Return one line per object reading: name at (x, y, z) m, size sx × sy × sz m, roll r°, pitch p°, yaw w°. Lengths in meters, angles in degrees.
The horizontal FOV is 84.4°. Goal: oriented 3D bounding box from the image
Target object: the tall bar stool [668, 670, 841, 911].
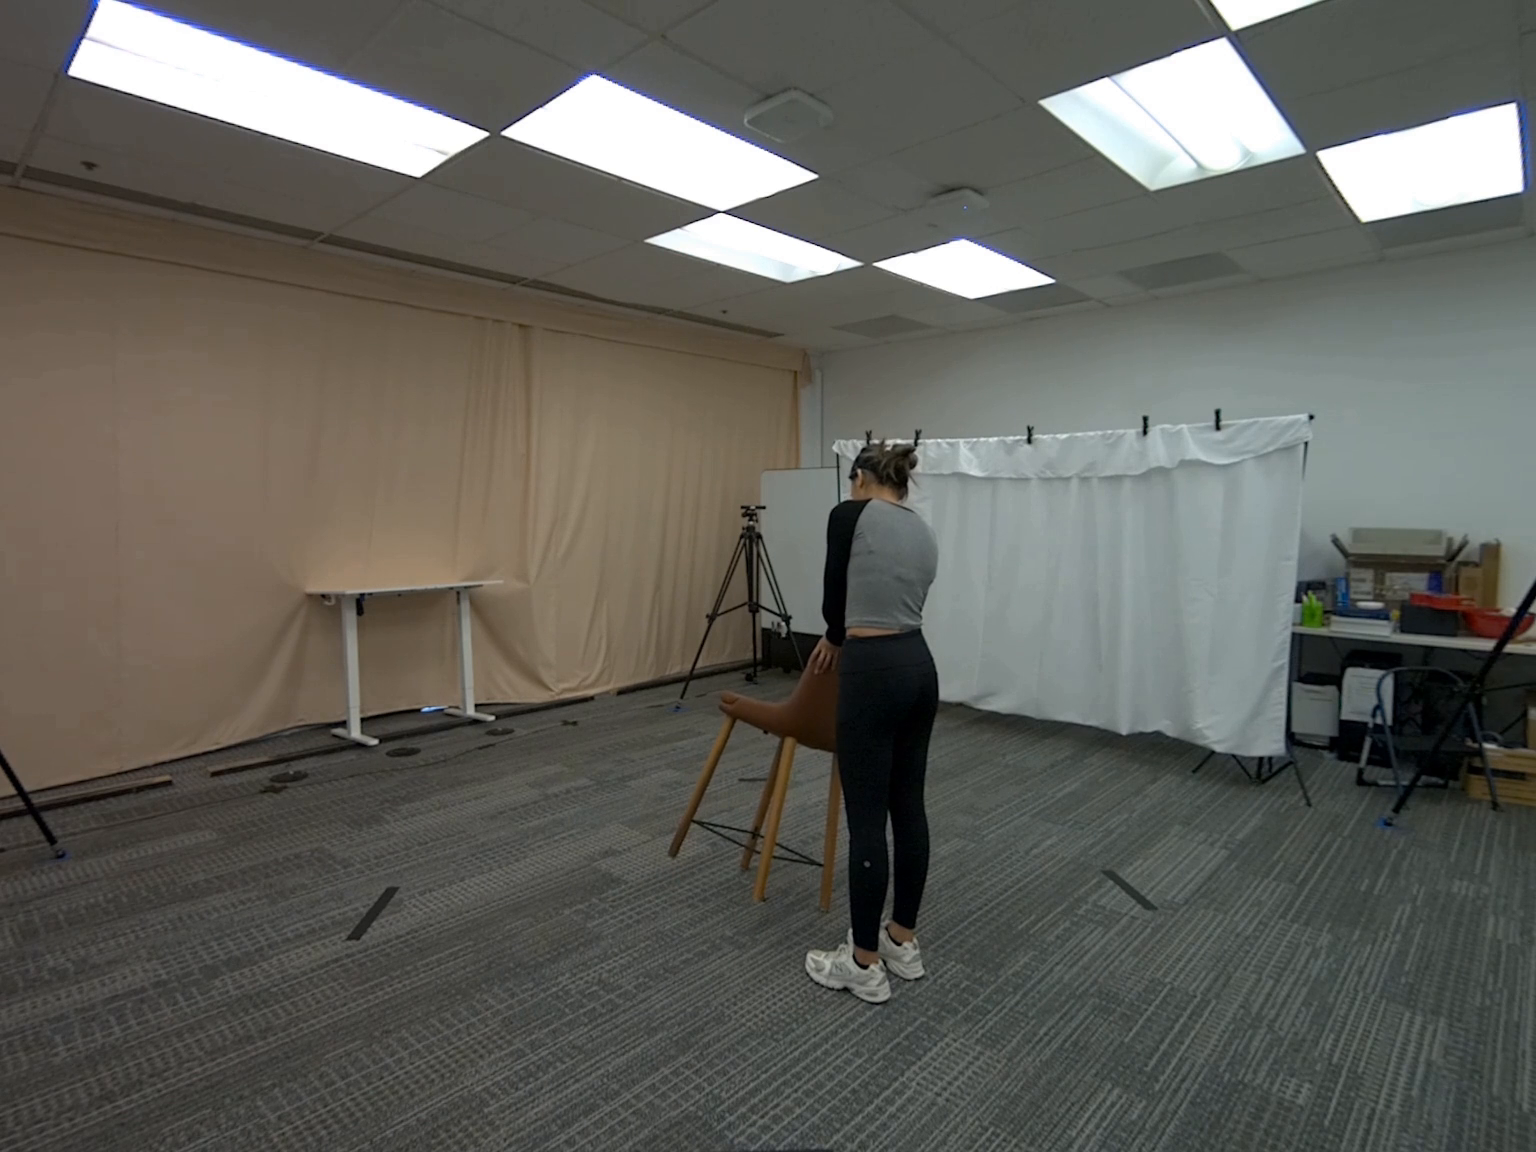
tall bar stool at (0.061, 0.663, 3.015) m, size 0.440 × 0.892 × 0.484 m, roll 25°, pitch -12°, yaw -41°
